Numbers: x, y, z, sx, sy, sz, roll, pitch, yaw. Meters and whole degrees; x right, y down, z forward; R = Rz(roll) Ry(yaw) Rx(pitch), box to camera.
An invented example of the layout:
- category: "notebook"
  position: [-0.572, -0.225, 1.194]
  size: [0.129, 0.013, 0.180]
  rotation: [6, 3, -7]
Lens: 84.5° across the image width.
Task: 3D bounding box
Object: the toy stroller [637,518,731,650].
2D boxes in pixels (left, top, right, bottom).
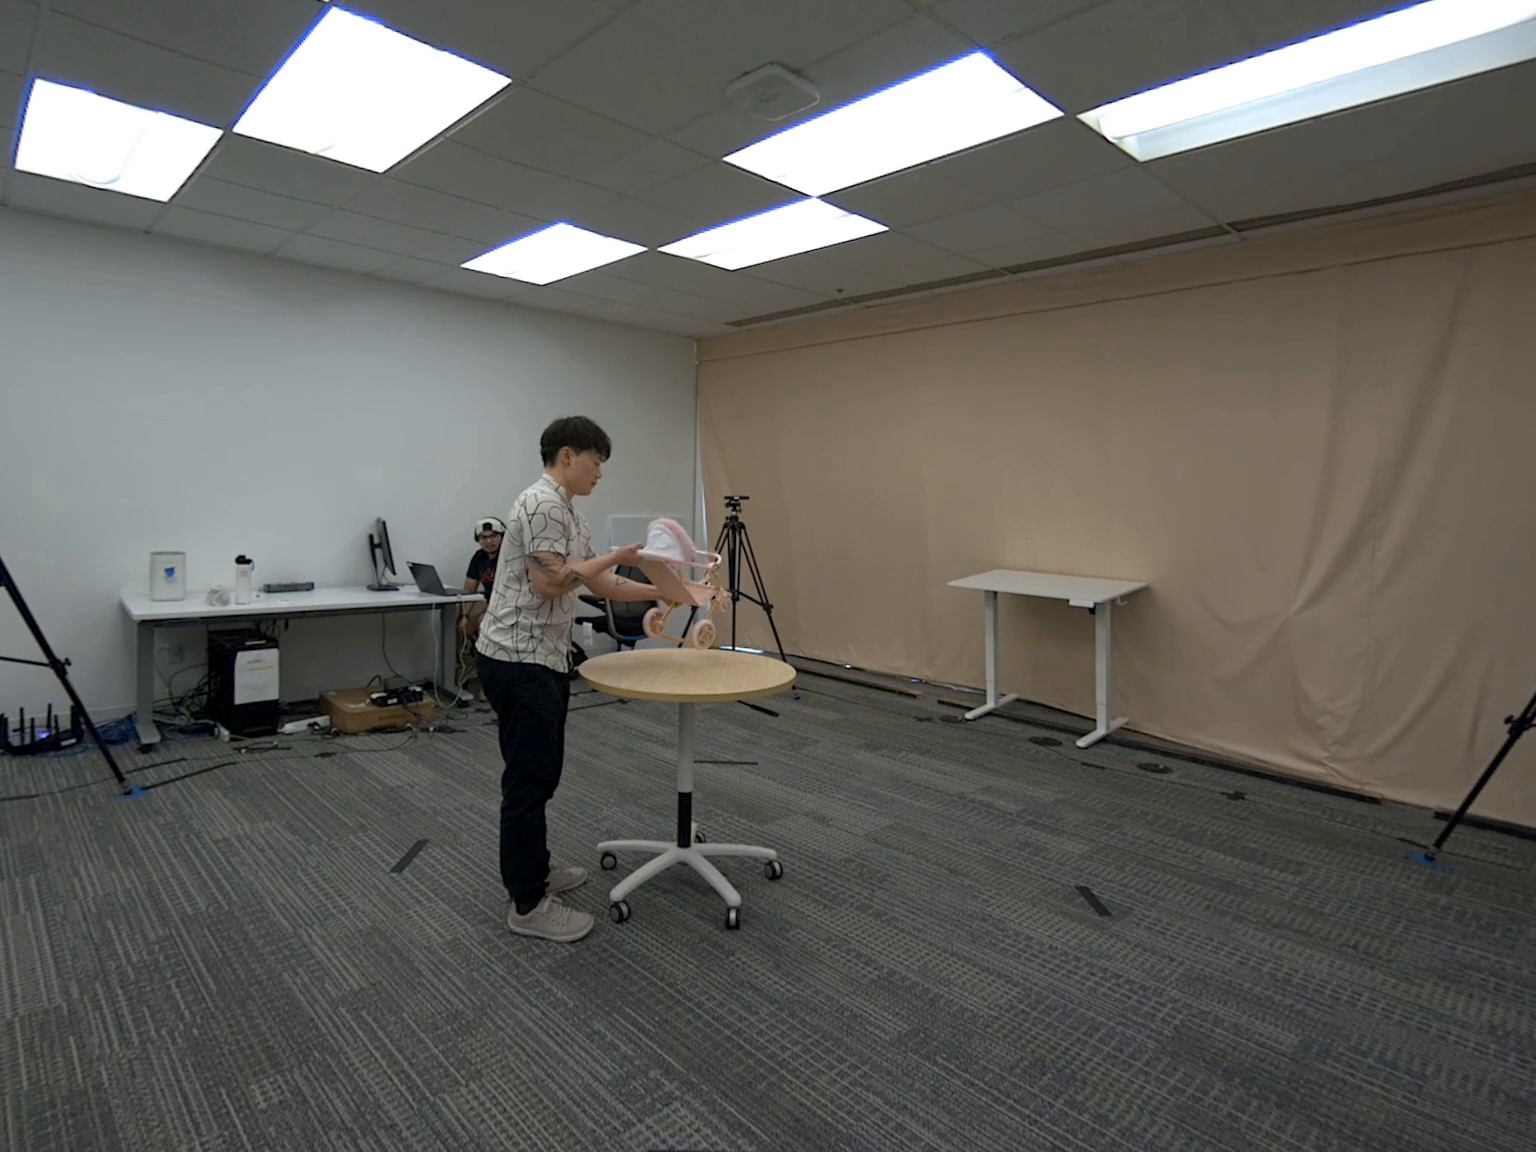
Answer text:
- category: "toy stroller"
  position: [-0.321, 0.009, 3.026]
  size: [0.289, 0.521, 0.341]
  rotation: [12, 46, 42]
